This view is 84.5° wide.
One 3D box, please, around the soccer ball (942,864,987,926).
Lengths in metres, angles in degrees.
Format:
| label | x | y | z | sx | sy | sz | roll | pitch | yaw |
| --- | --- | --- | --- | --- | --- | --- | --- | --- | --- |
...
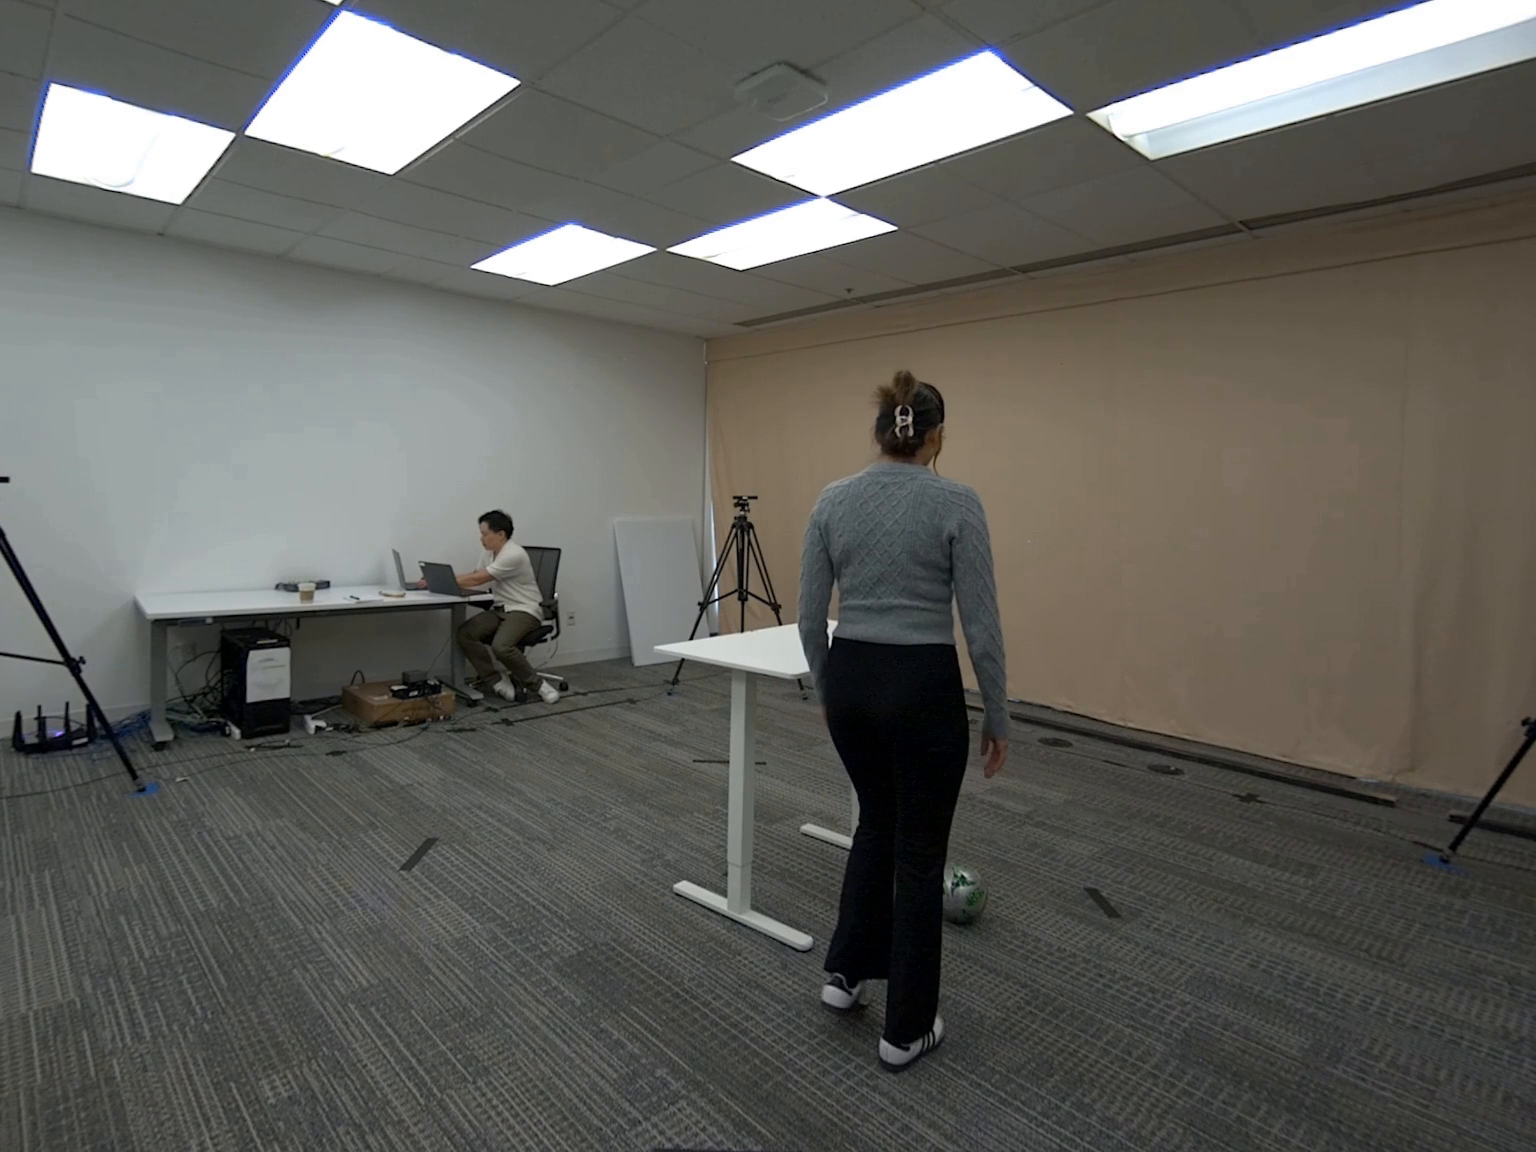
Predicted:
| label | x | y | z | sx | sy | sz | roll | pitch | yaw |
| --- | --- | --- | --- | --- | --- | --- | --- | --- | --- |
| soccer ball | 0.635 | 1.054 | 2.809 | 0.187 | 0.187 | 0.188 | 1 | 4 | -1 |
